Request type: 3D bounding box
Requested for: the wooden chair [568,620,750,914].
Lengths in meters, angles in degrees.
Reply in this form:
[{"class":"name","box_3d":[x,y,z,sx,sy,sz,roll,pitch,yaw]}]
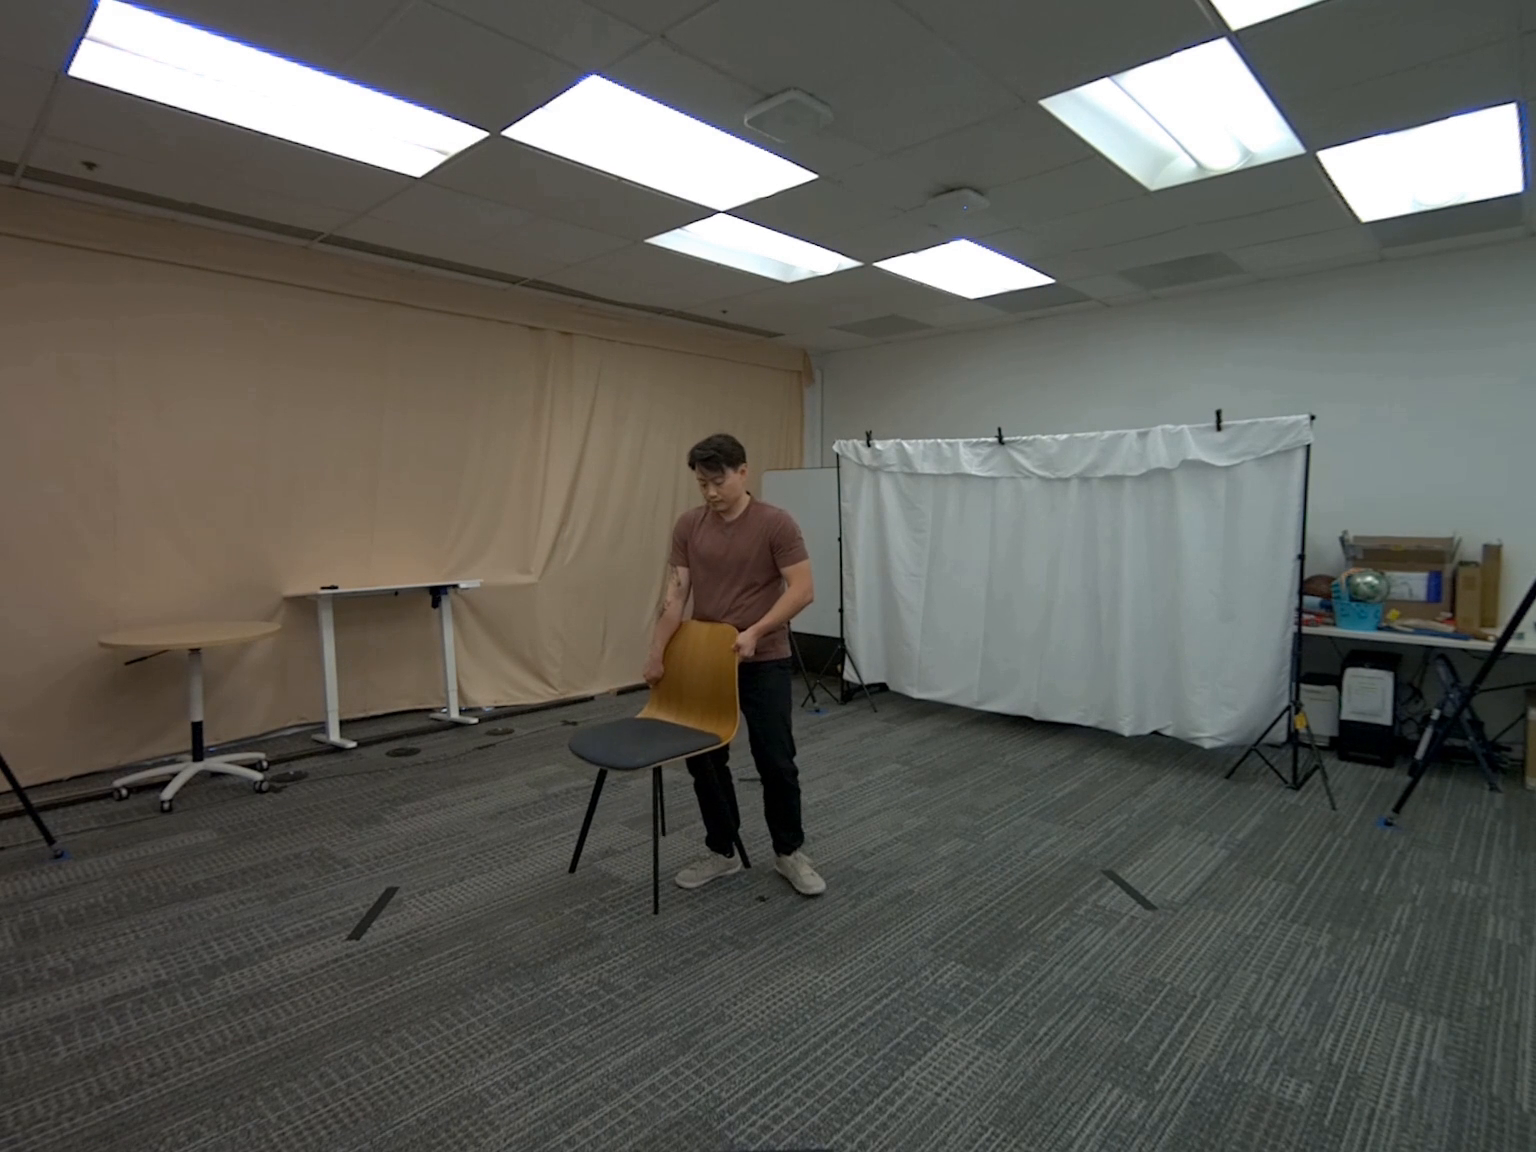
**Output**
[{"class":"wooden chair","box_3d":[-0.379,0.603,2.886,0.494,0.877,0.506,4,1,43]}]
